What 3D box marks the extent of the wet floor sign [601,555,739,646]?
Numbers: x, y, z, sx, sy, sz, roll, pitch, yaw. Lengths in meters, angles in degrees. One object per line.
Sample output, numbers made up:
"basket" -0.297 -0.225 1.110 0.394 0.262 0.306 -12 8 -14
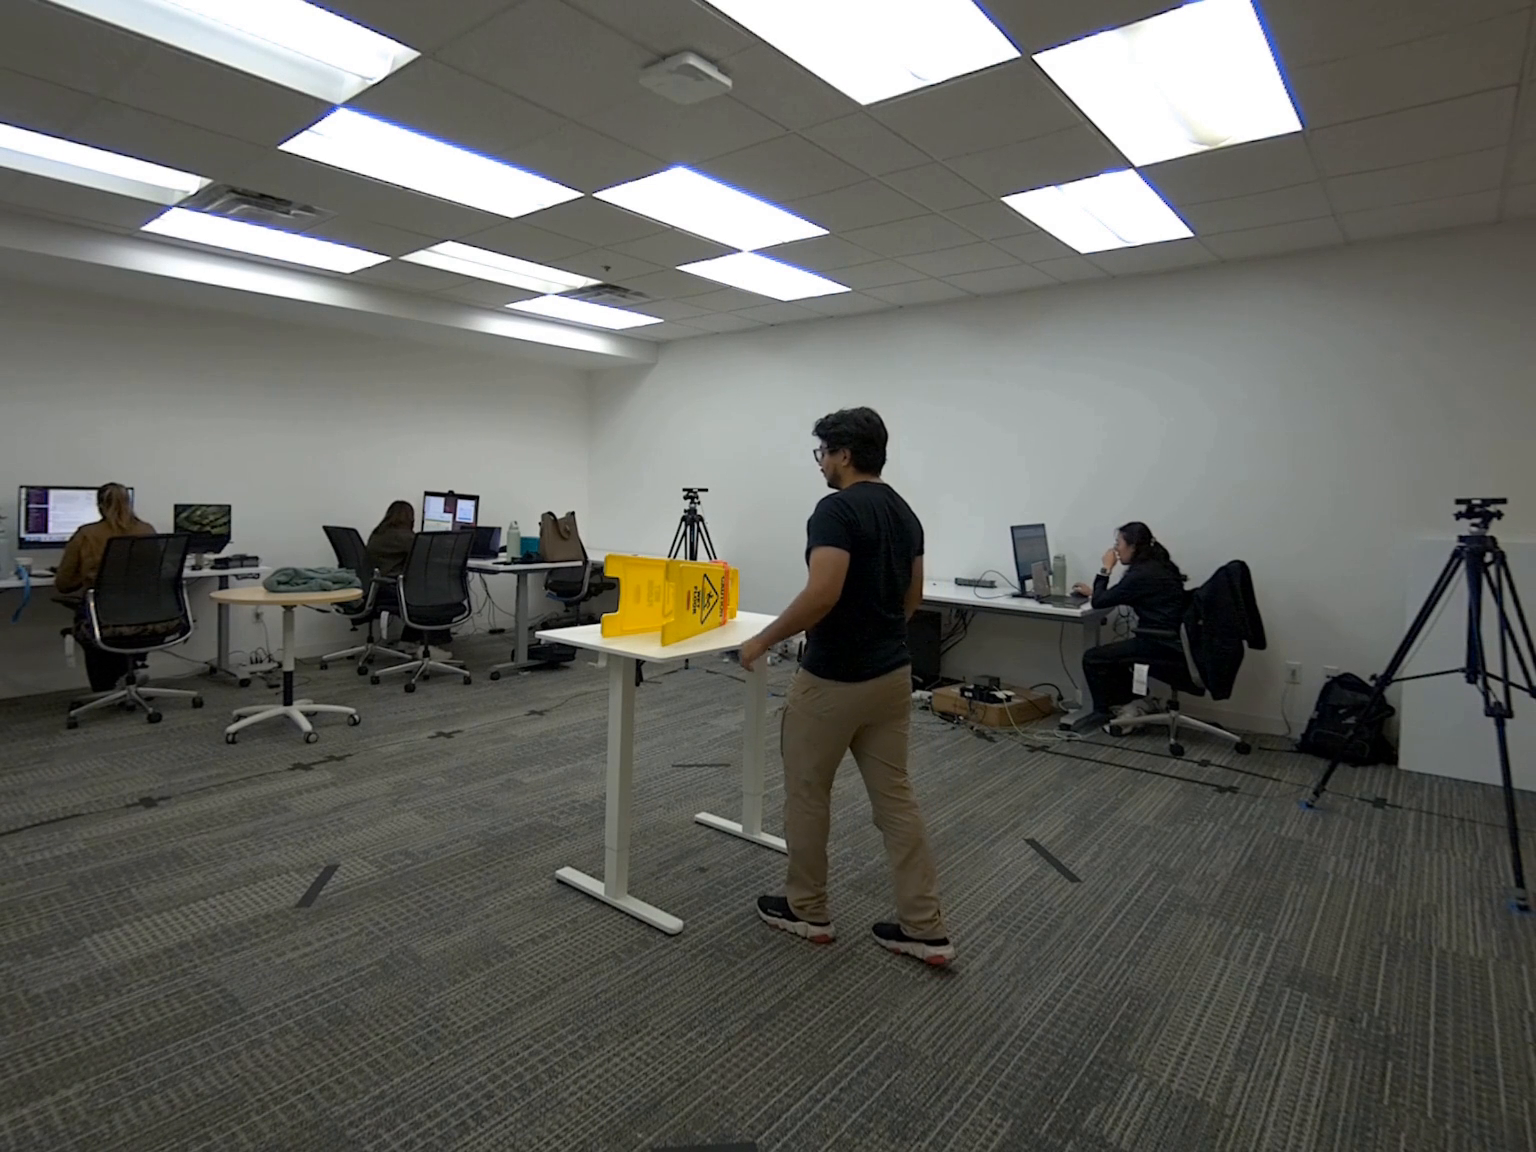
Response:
"wet floor sign" -0.296 0.070 3.035 0.298 0.282 0.628 4 2 29
